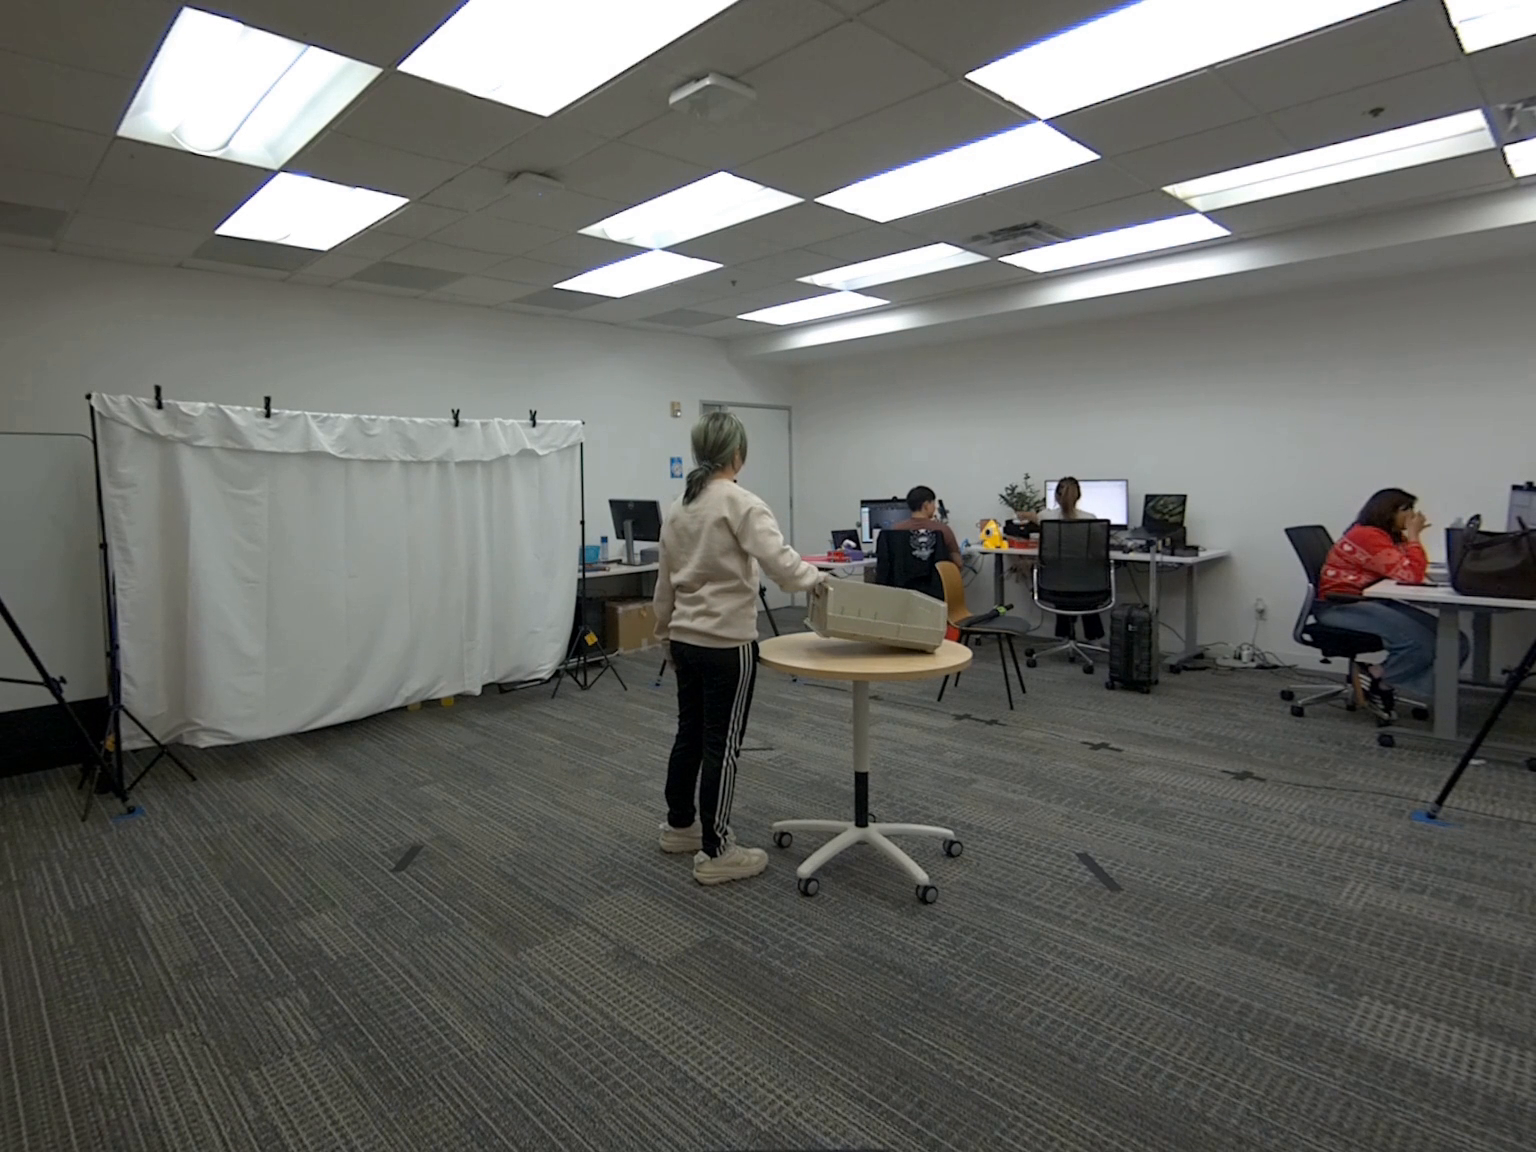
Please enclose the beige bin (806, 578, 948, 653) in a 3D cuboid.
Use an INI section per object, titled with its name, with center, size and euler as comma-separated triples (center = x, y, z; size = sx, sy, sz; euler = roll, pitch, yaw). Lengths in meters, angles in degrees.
[beige bin]
center = 0.370, 0.136, 3.065
size = 0.420, 0.188, 0.381
euler = 8, 4, -6
